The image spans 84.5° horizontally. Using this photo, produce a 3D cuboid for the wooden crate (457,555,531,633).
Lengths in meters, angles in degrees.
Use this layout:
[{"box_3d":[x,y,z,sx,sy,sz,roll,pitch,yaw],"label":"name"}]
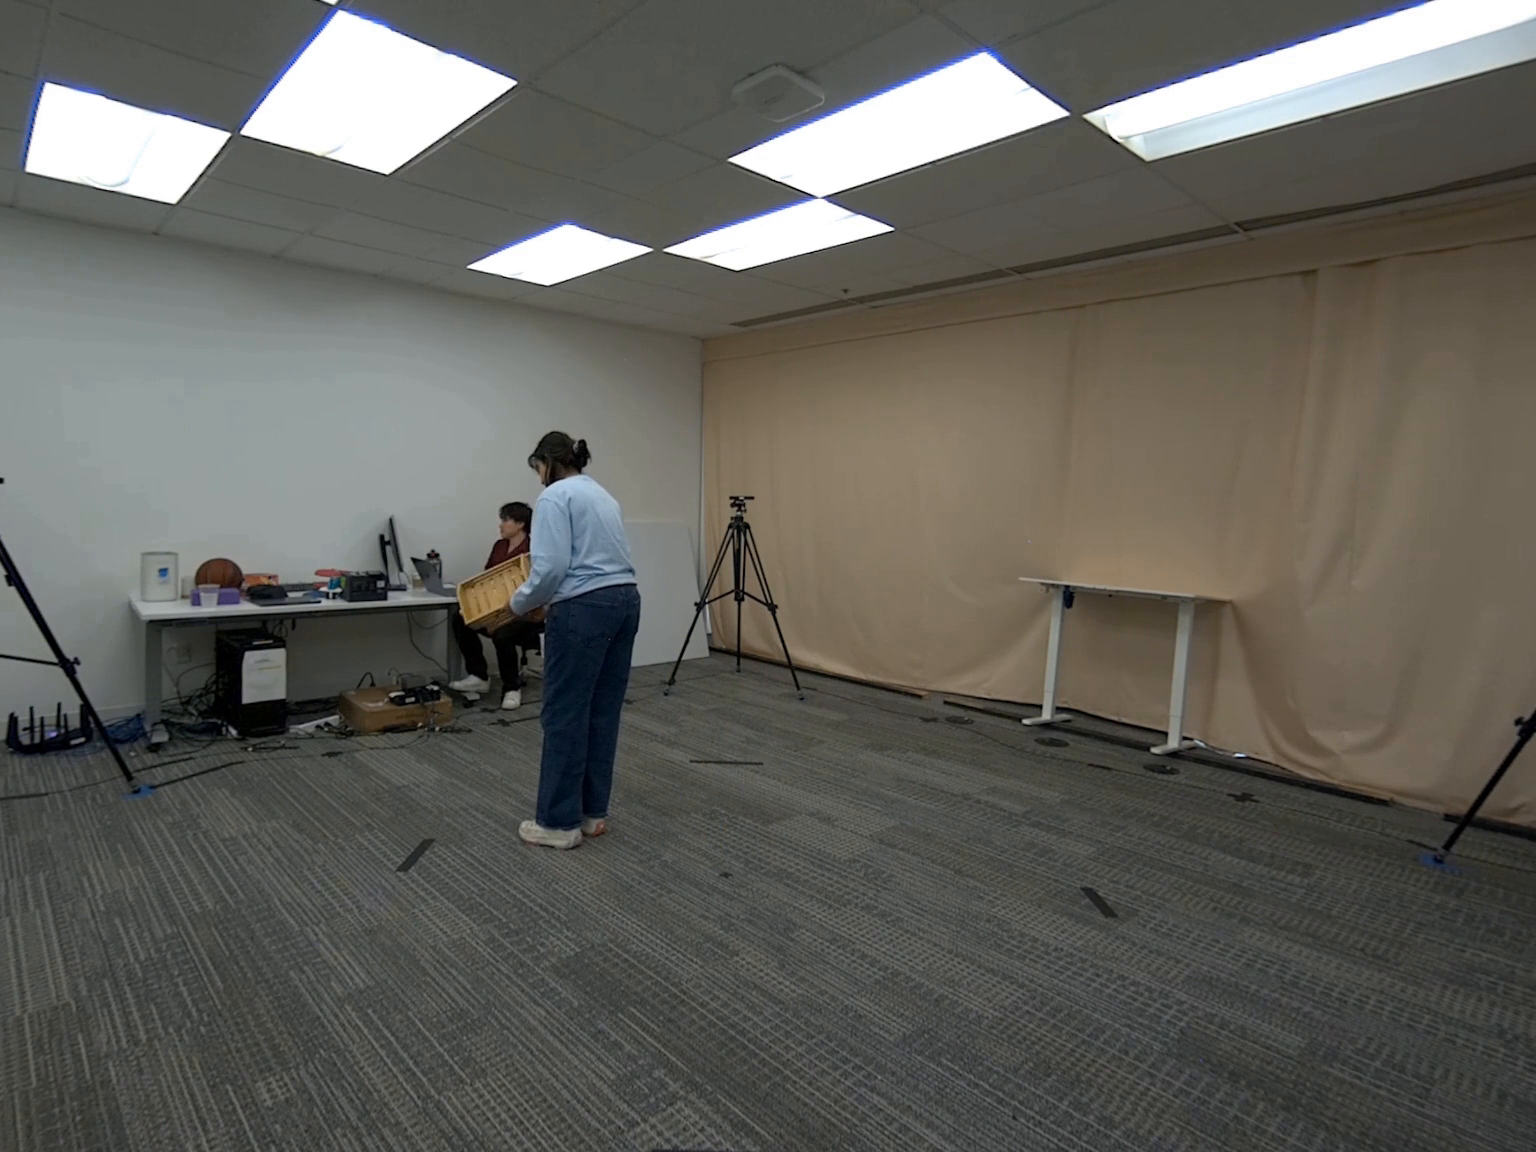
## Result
[{"box_3d":[-1.132,0.050,3.572,0.324,0.309,0.267,-25,-23,1],"label":"wooden crate"}]
